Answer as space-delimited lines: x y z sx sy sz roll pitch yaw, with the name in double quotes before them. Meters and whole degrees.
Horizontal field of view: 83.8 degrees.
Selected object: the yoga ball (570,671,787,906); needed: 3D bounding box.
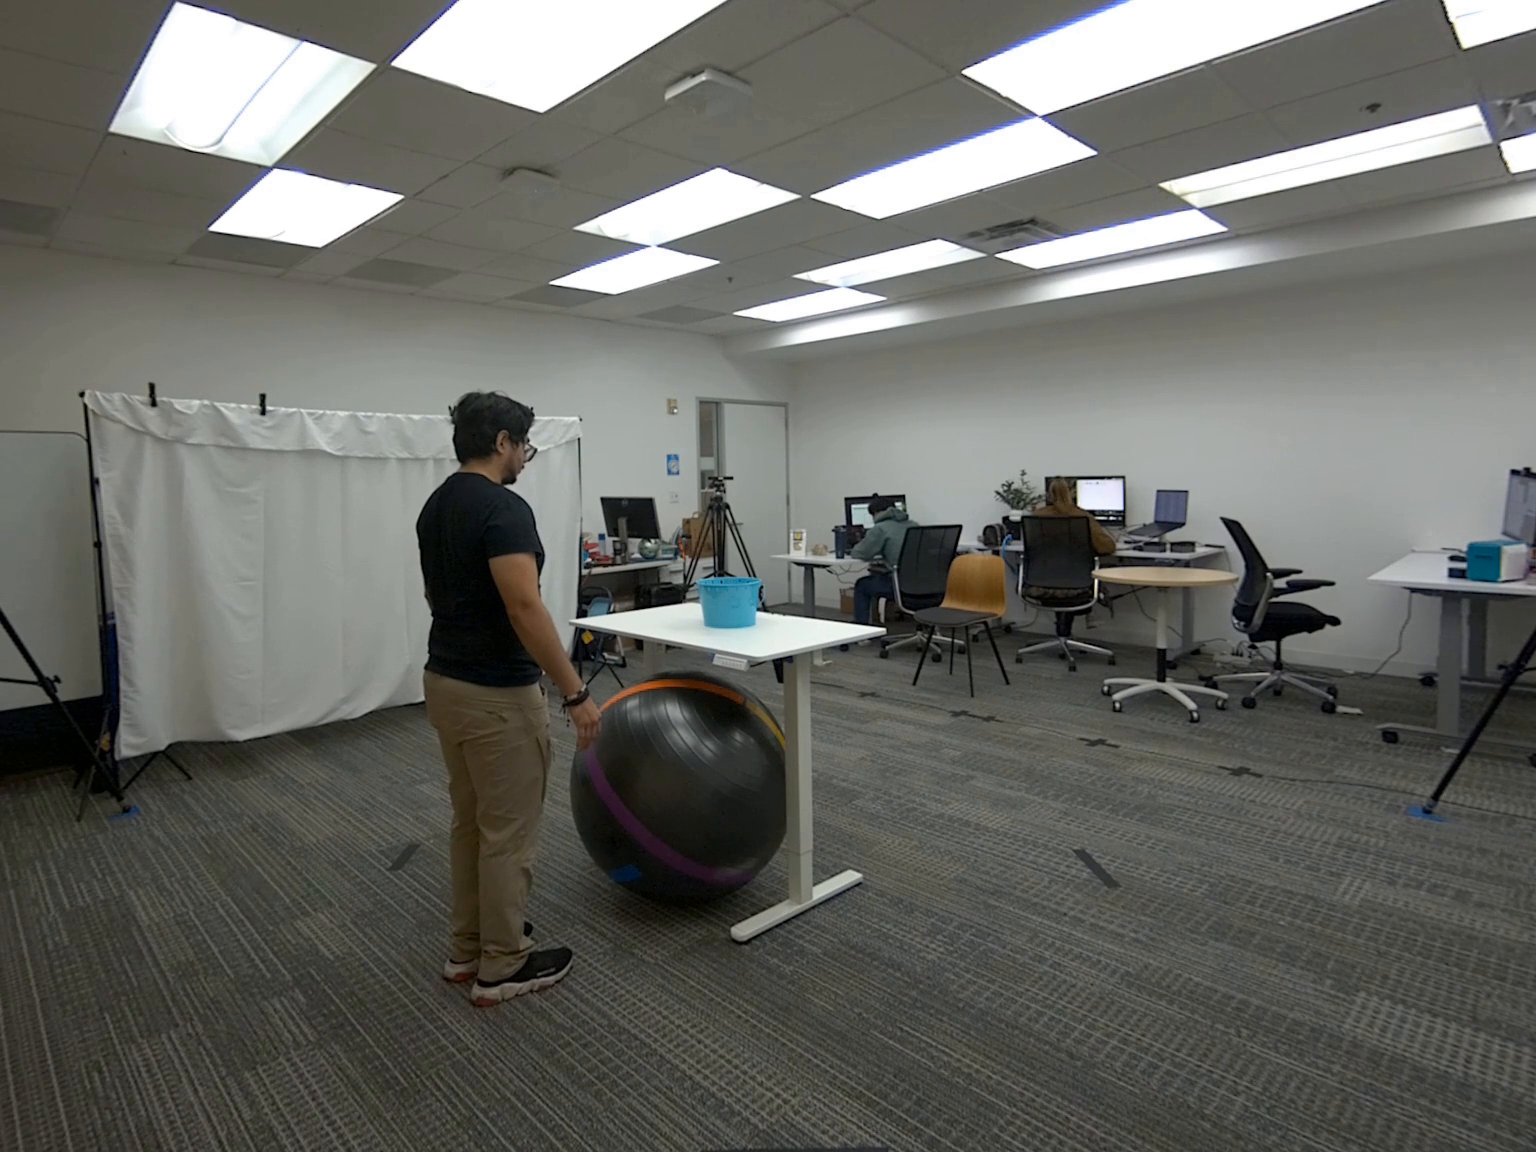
"yoga ball" -0.294 0.713 2.886 0.757 0.755 0.762 -1 5 -2
